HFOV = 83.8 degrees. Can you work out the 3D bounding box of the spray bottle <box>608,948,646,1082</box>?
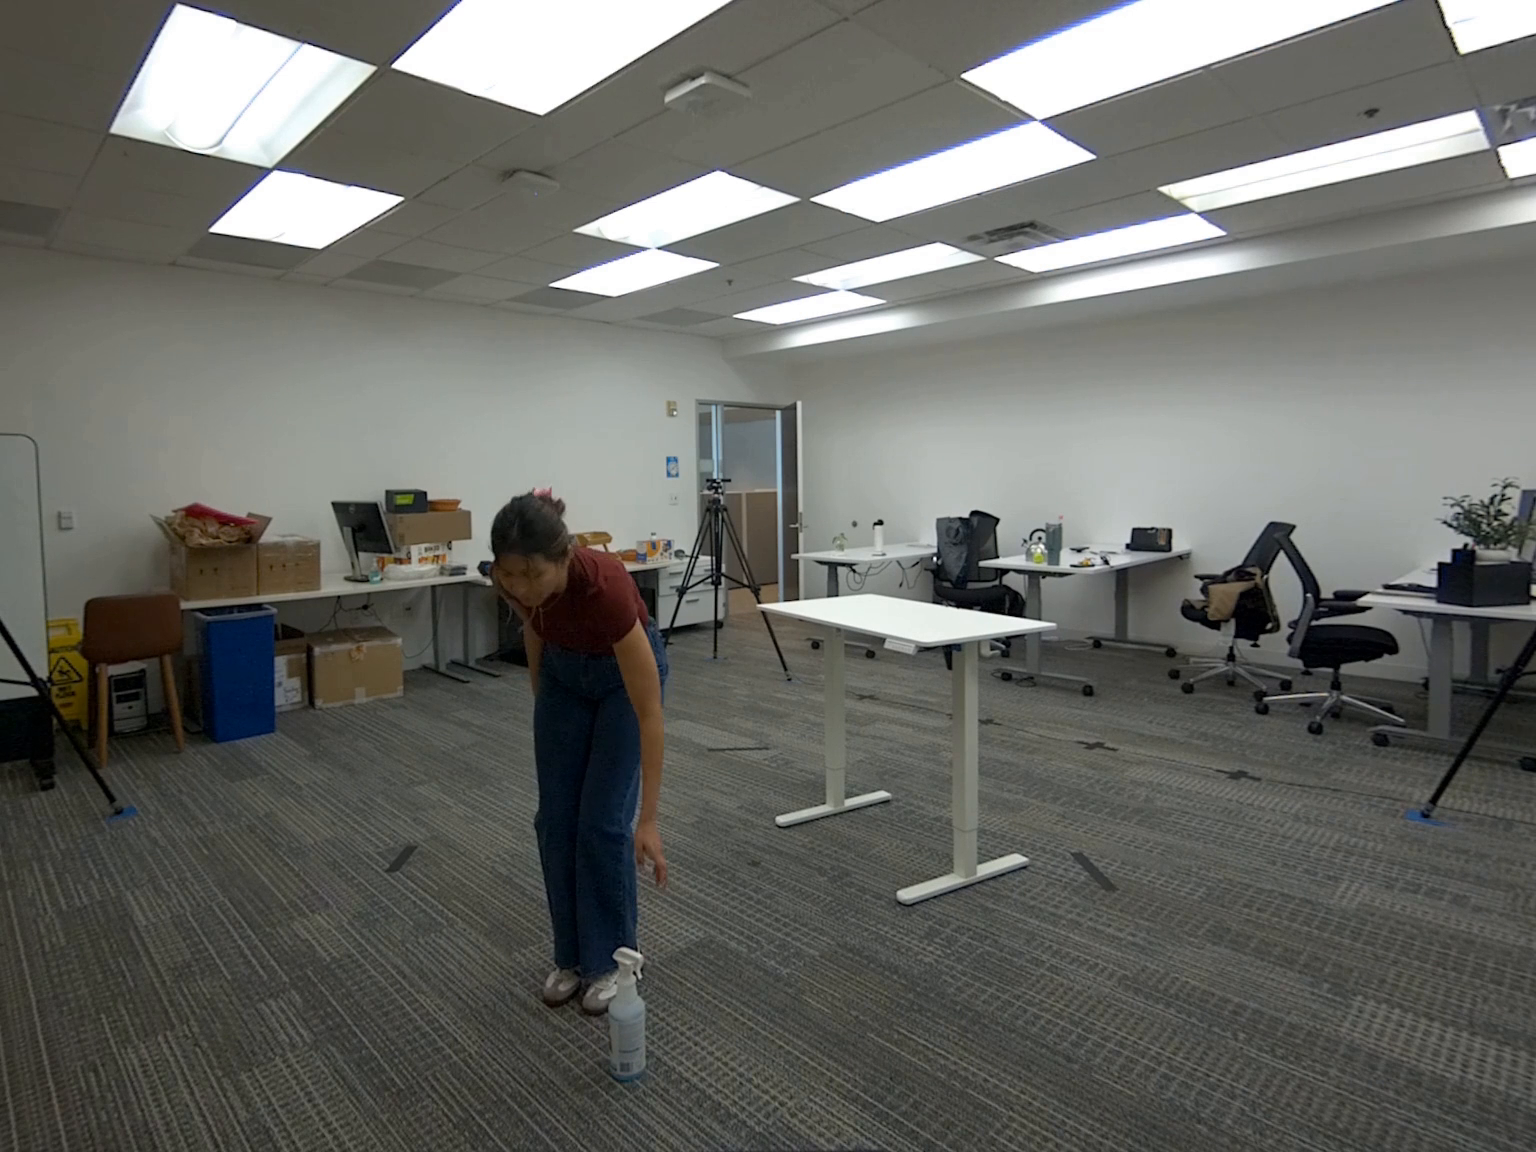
[{"bbox_3d":[-0.326,1.036,2.024,0.085,0.296,0.092,-3,5,-26],"label":"spray bottle"}]
